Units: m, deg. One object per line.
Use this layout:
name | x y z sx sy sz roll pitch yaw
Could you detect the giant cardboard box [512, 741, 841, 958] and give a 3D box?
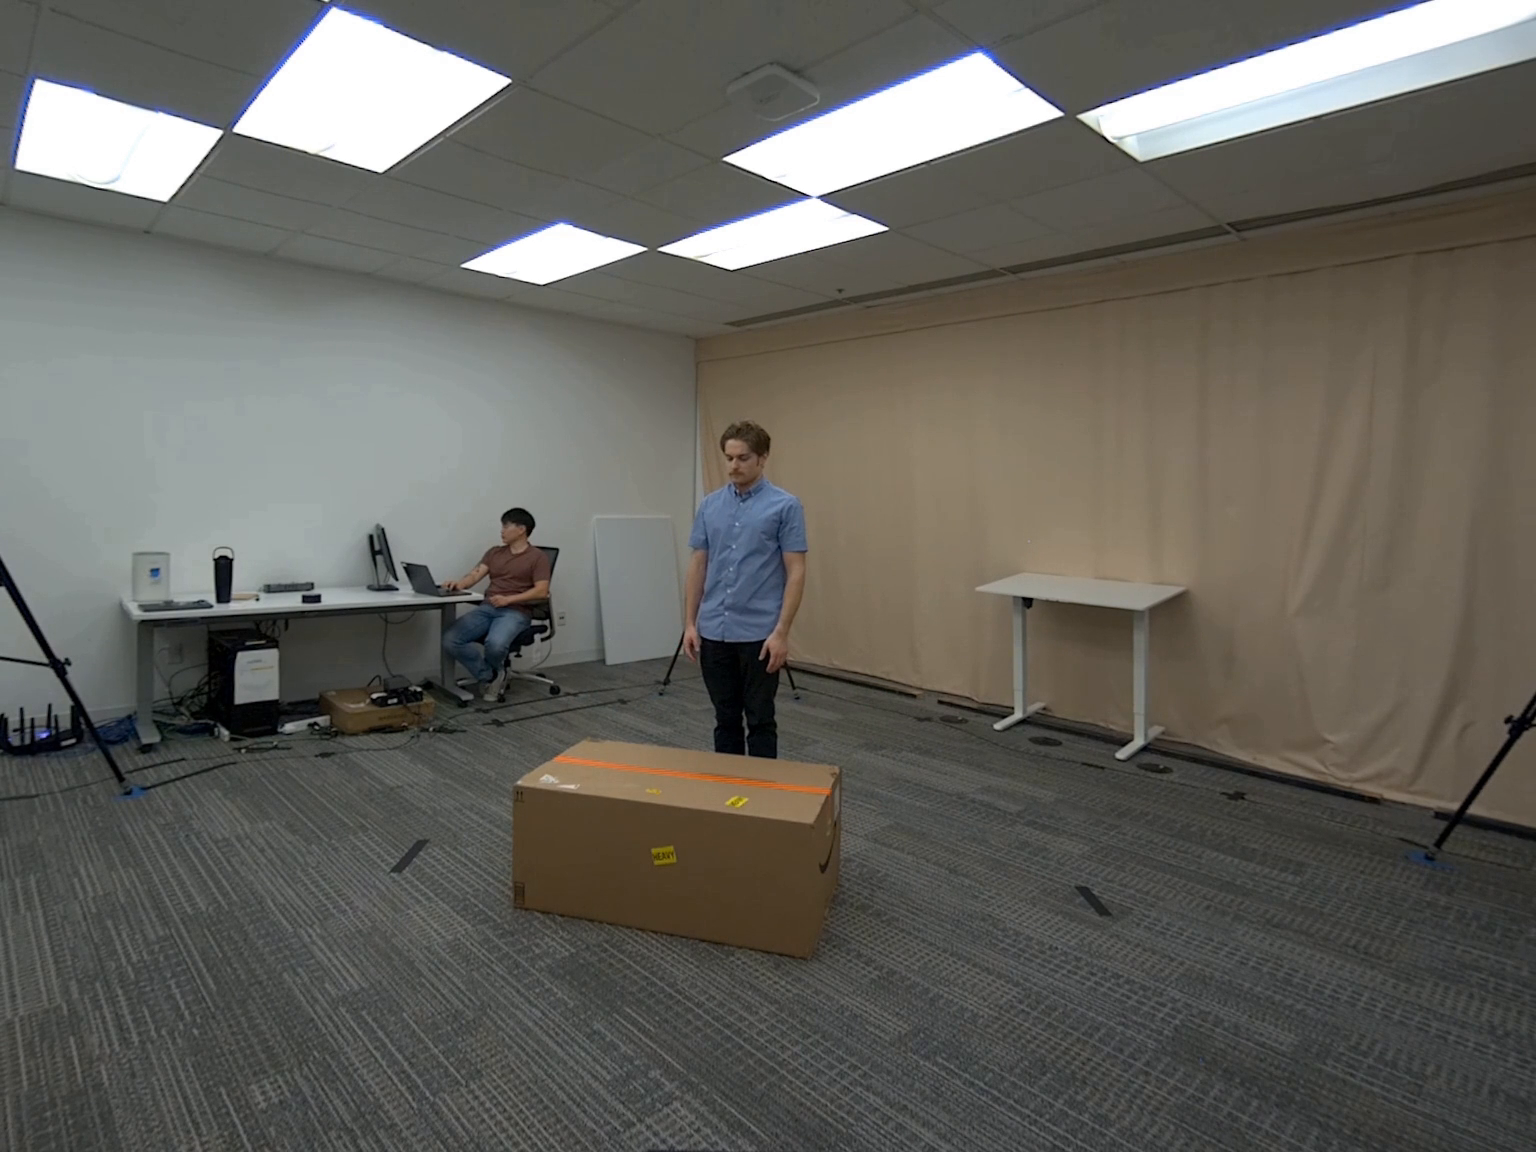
giant cardboard box | -0.297 0.901 2.941 1.040 0.446 0.577 2 3 15
